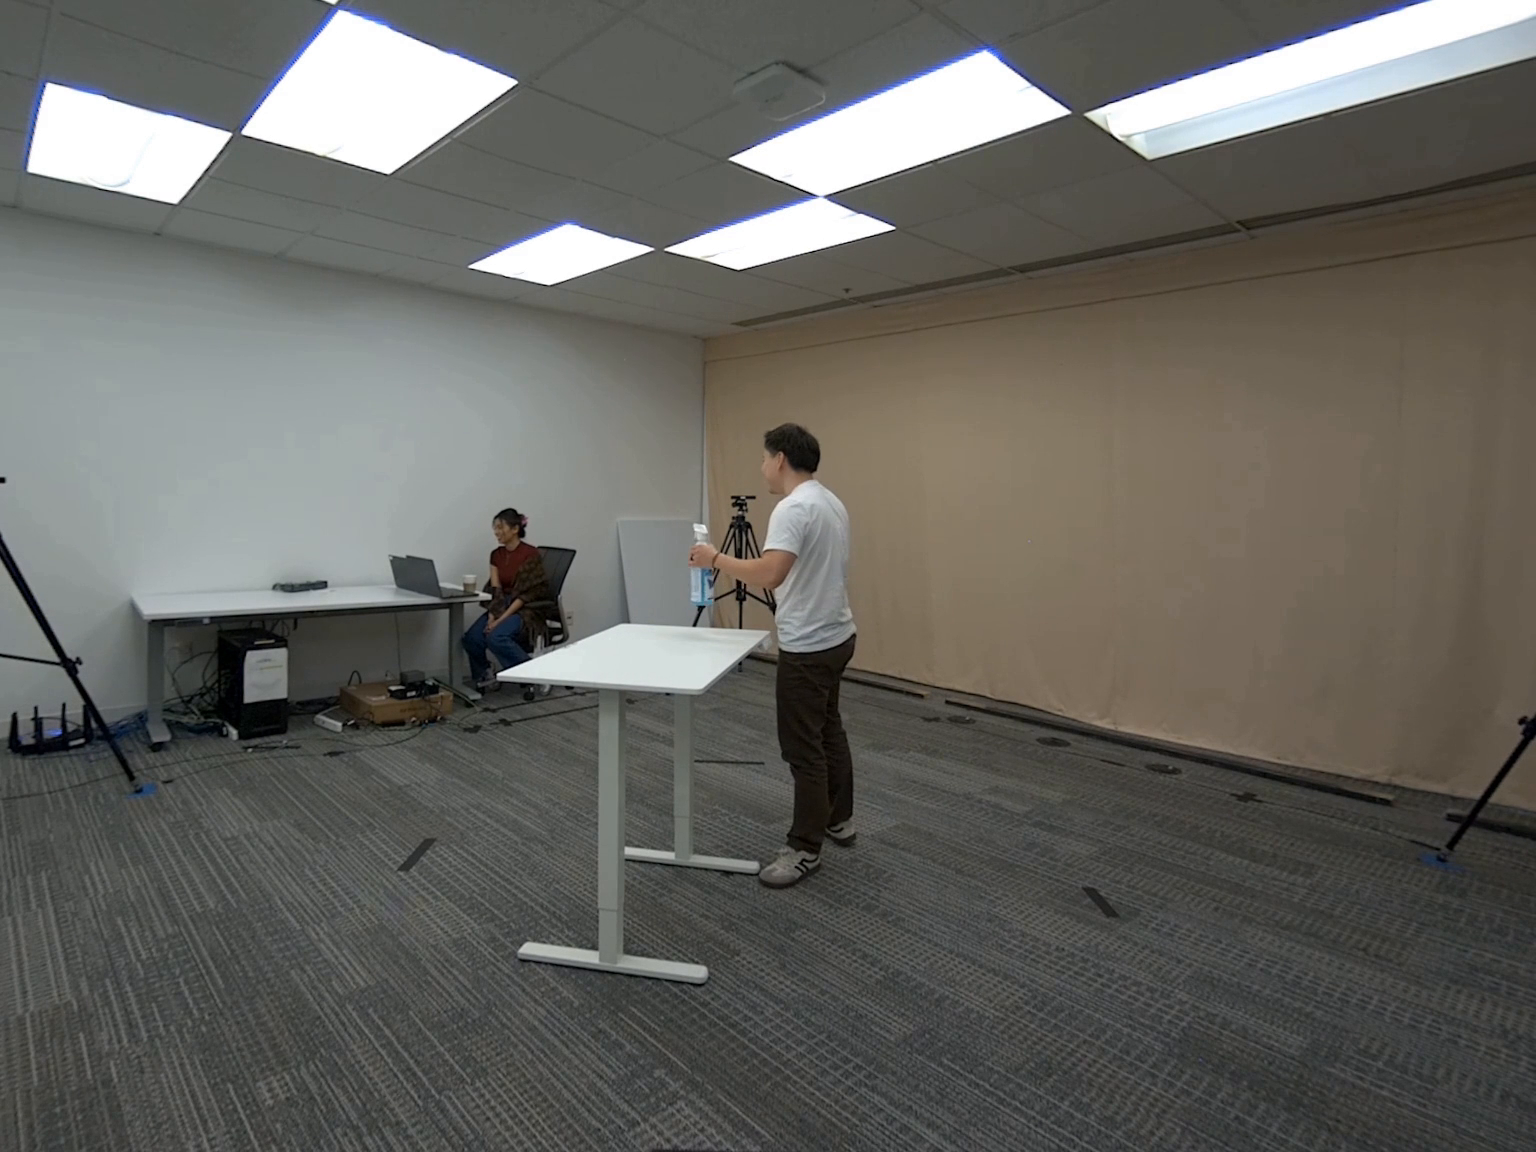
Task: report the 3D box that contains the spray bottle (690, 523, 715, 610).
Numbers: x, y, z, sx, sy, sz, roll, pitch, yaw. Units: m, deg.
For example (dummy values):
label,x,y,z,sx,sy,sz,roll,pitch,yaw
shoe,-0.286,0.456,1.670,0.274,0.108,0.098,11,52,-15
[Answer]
label,x,y,z,sx,sy,sz,roll,pitch,yaw
spray bottle,-0.242,-0.038,3.108,0.087,0.296,0.090,-1,4,-6
